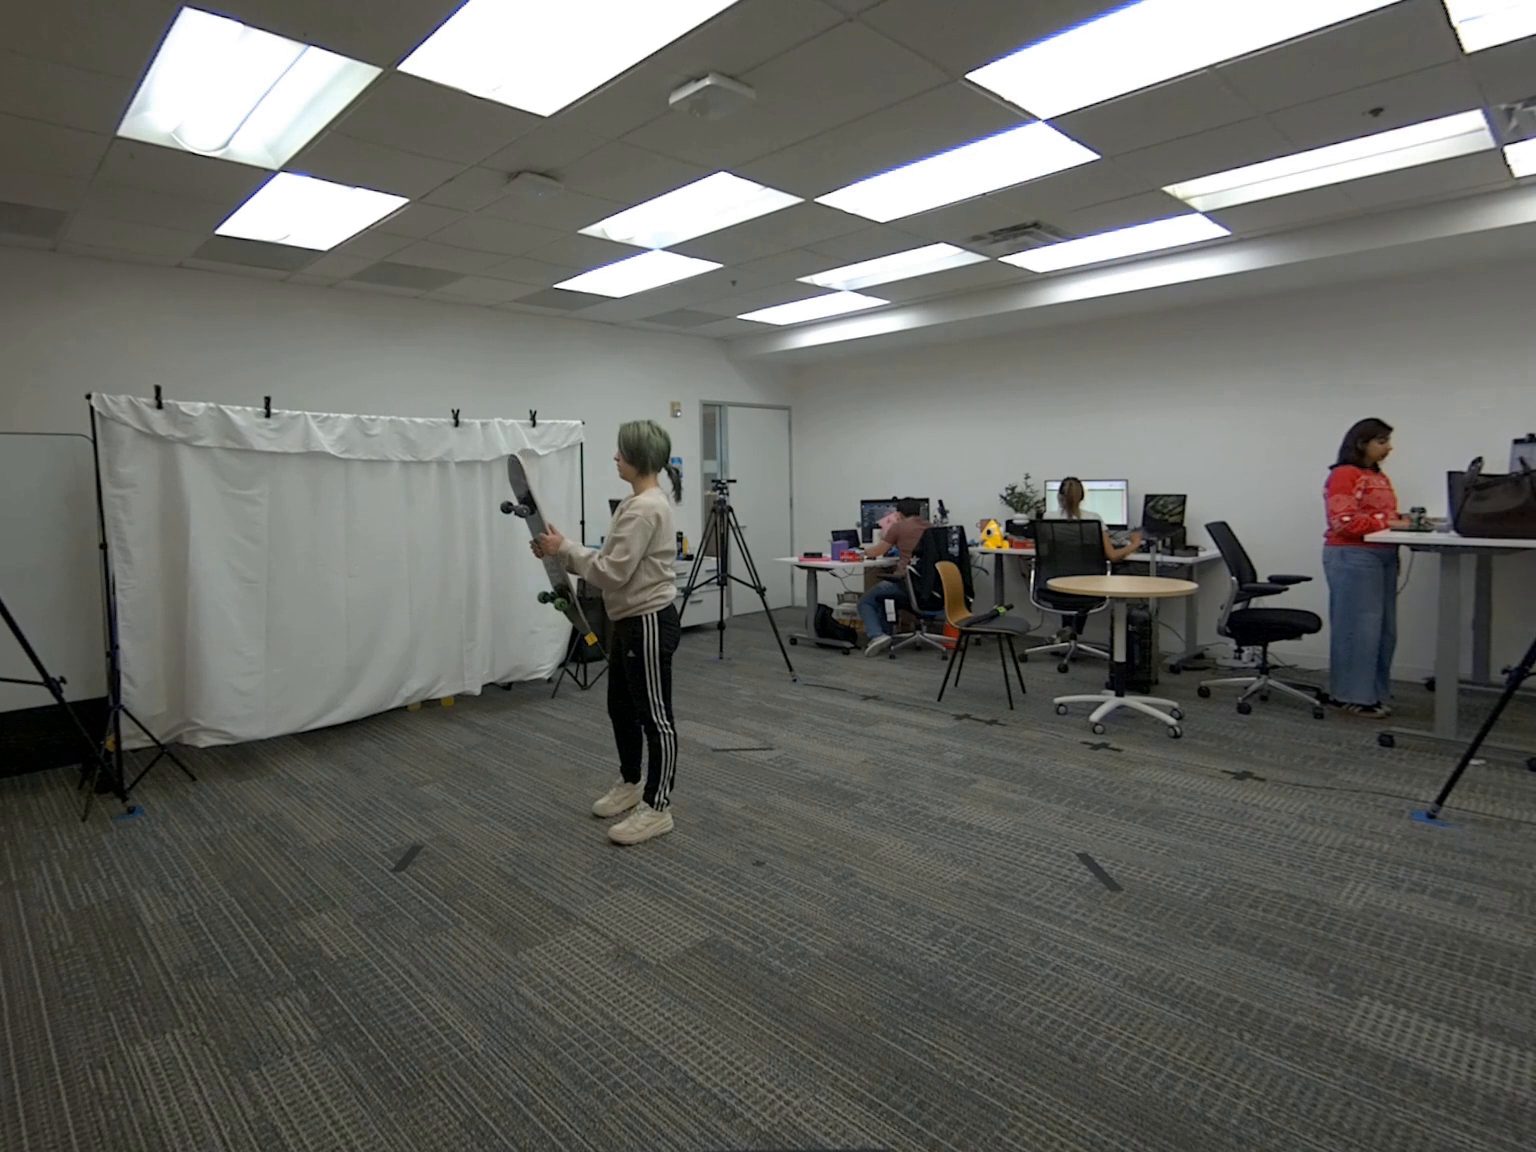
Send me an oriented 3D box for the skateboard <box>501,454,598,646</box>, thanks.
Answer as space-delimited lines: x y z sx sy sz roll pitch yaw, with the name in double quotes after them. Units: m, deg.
-0.879 -0.092 3.315 0.109 0.769 0.200 -29 22 -31 "skateboard"
